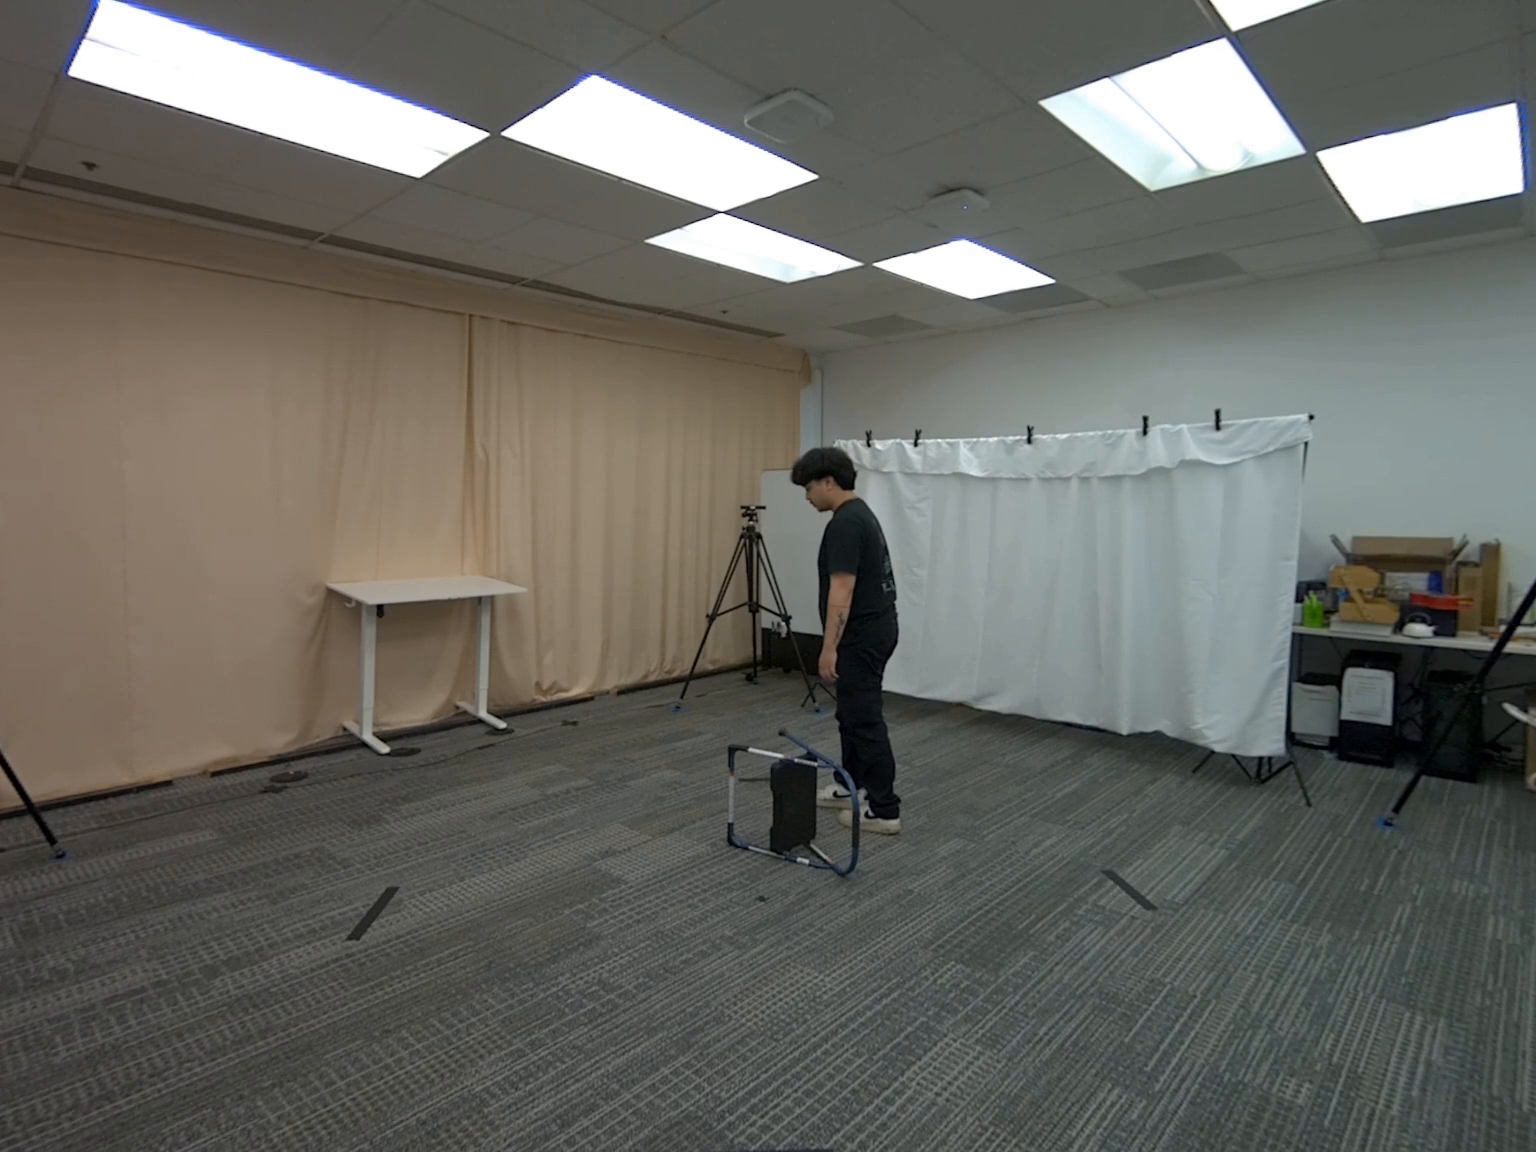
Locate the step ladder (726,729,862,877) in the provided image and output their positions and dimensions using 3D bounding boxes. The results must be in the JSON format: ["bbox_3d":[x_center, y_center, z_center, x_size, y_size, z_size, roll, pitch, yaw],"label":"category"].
[{"bbox_3d":[0.163,0.900,3.332,0.339,0.429,0.626,-4,6,-43],"label":"step ladder"}]
